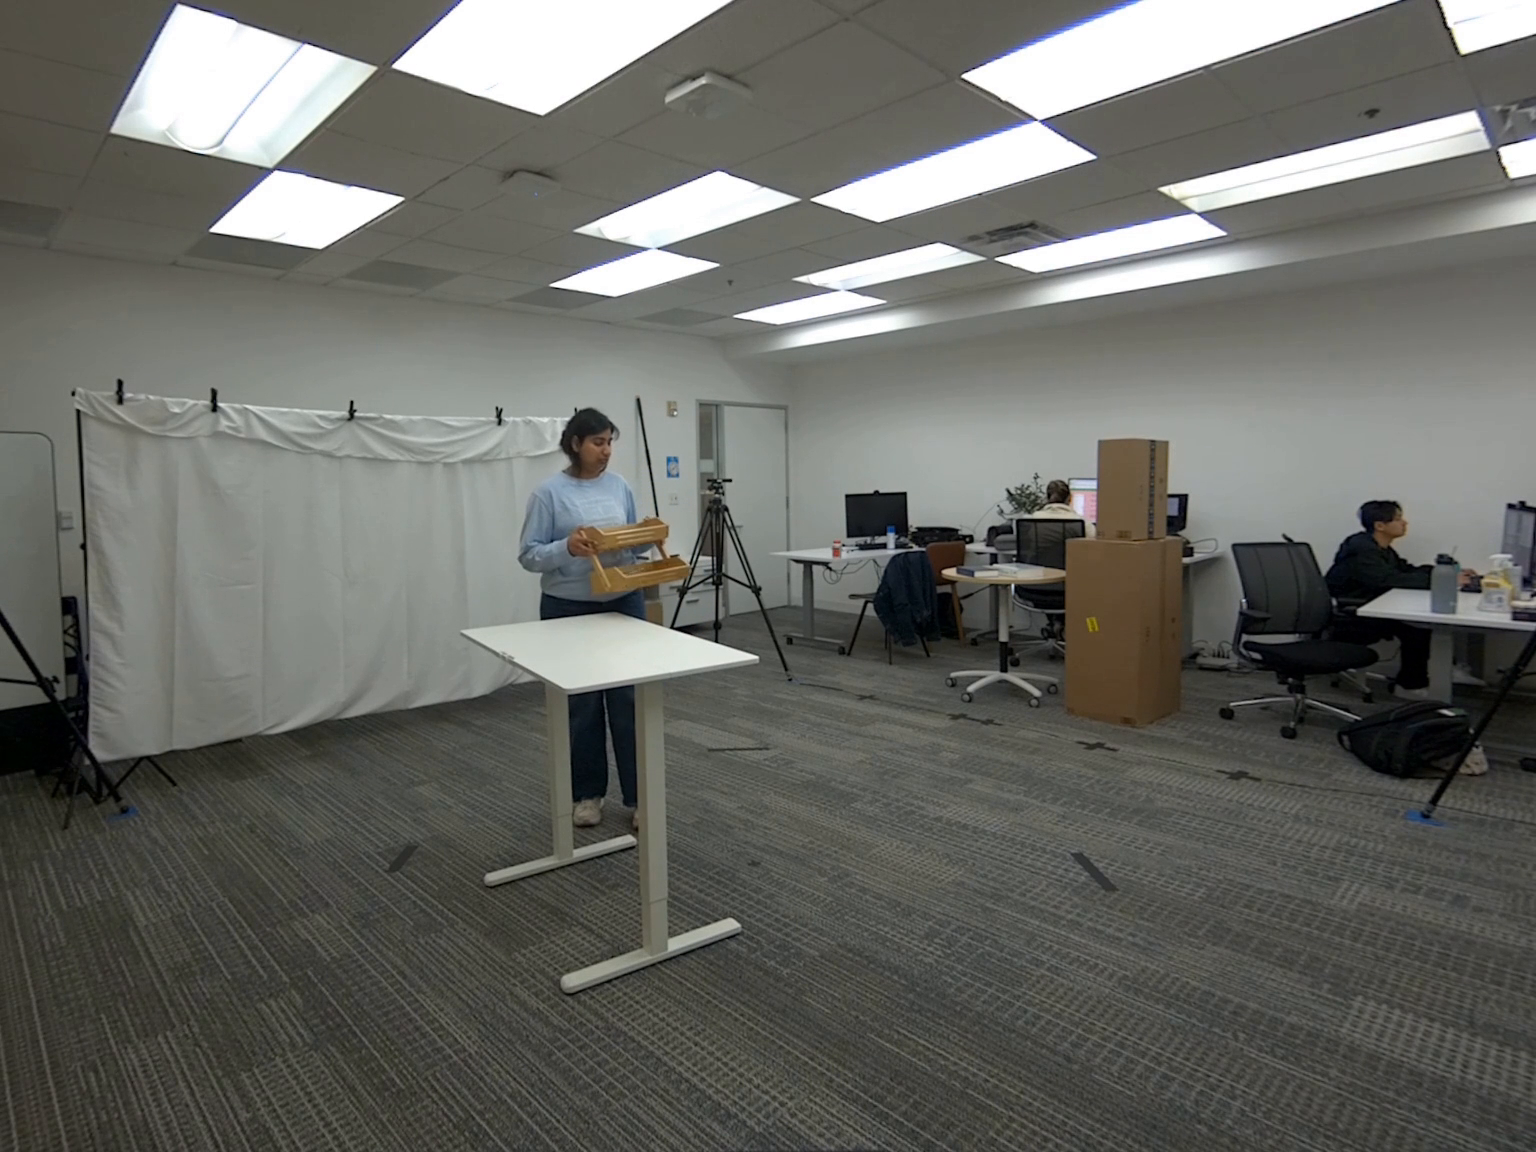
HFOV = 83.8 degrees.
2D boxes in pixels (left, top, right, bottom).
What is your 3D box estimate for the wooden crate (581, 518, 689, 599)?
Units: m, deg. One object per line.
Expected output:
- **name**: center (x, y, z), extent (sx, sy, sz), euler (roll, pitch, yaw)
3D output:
- **wooden crate**: center (-0.525, -0.088, 3.307), extent (0.317, 0.274, 0.308), euler (-10, -2, -40)
